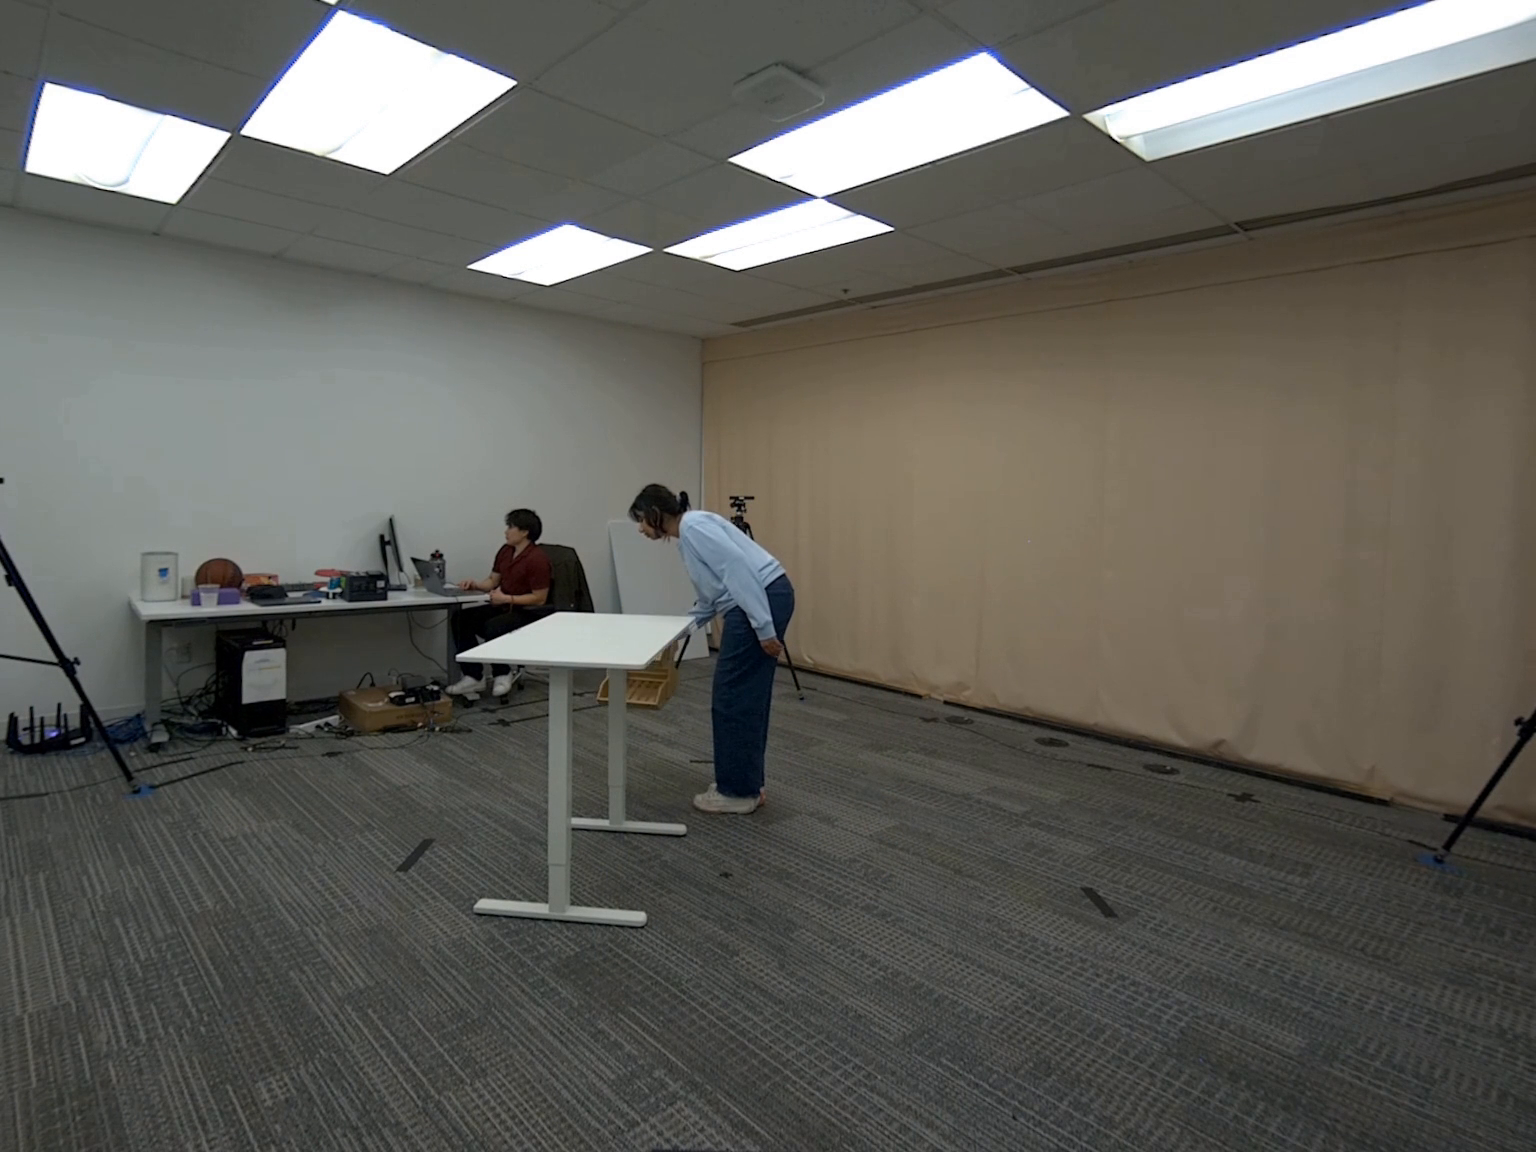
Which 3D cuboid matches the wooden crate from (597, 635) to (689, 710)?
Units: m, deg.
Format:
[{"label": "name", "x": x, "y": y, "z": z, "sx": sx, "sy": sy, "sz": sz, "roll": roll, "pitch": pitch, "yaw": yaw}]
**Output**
[{"label": "wooden crate", "x": -0.604, "y": 0.424, "z": 3.878, "sx": 0.329, "sy": 0.269, "sz": 0.302, "roll": 2, "pitch": 20, "yaw": 17}]
